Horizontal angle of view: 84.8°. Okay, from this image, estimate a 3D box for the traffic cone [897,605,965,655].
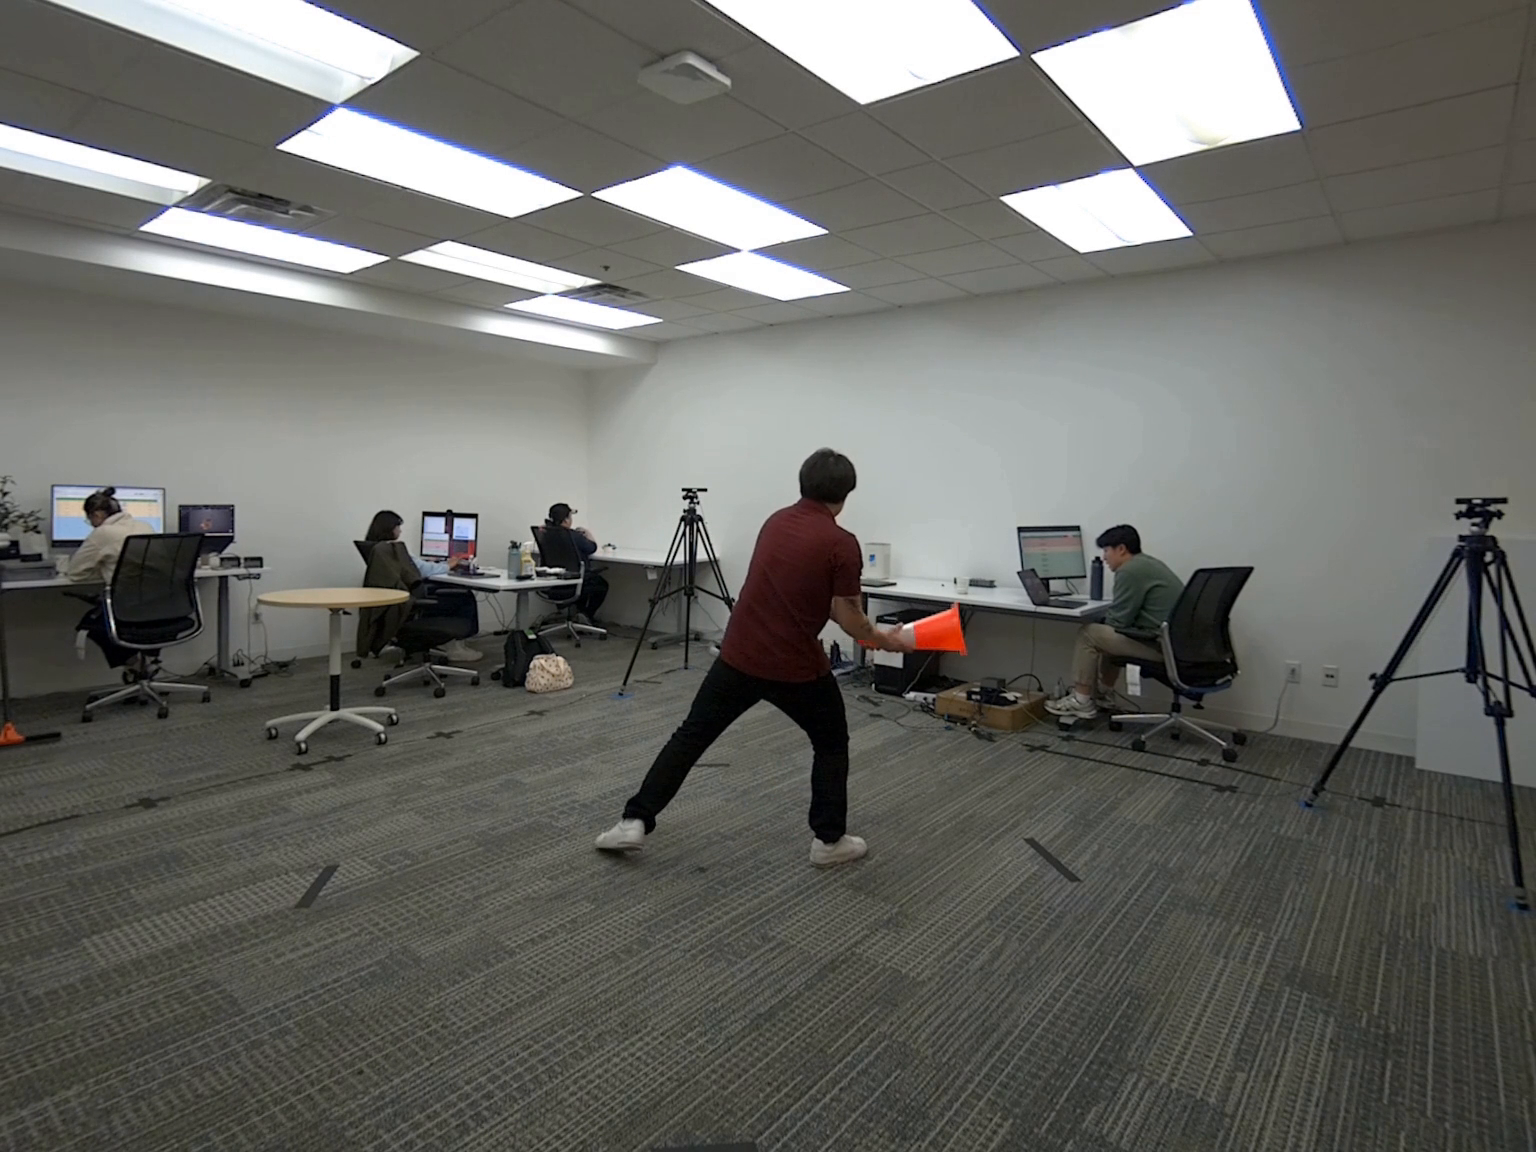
[{"bbox_3d":[0.518,0.226,3.271,0.388,0.208,0.198,-8,-13,12],"label":"traffic cone"}]
